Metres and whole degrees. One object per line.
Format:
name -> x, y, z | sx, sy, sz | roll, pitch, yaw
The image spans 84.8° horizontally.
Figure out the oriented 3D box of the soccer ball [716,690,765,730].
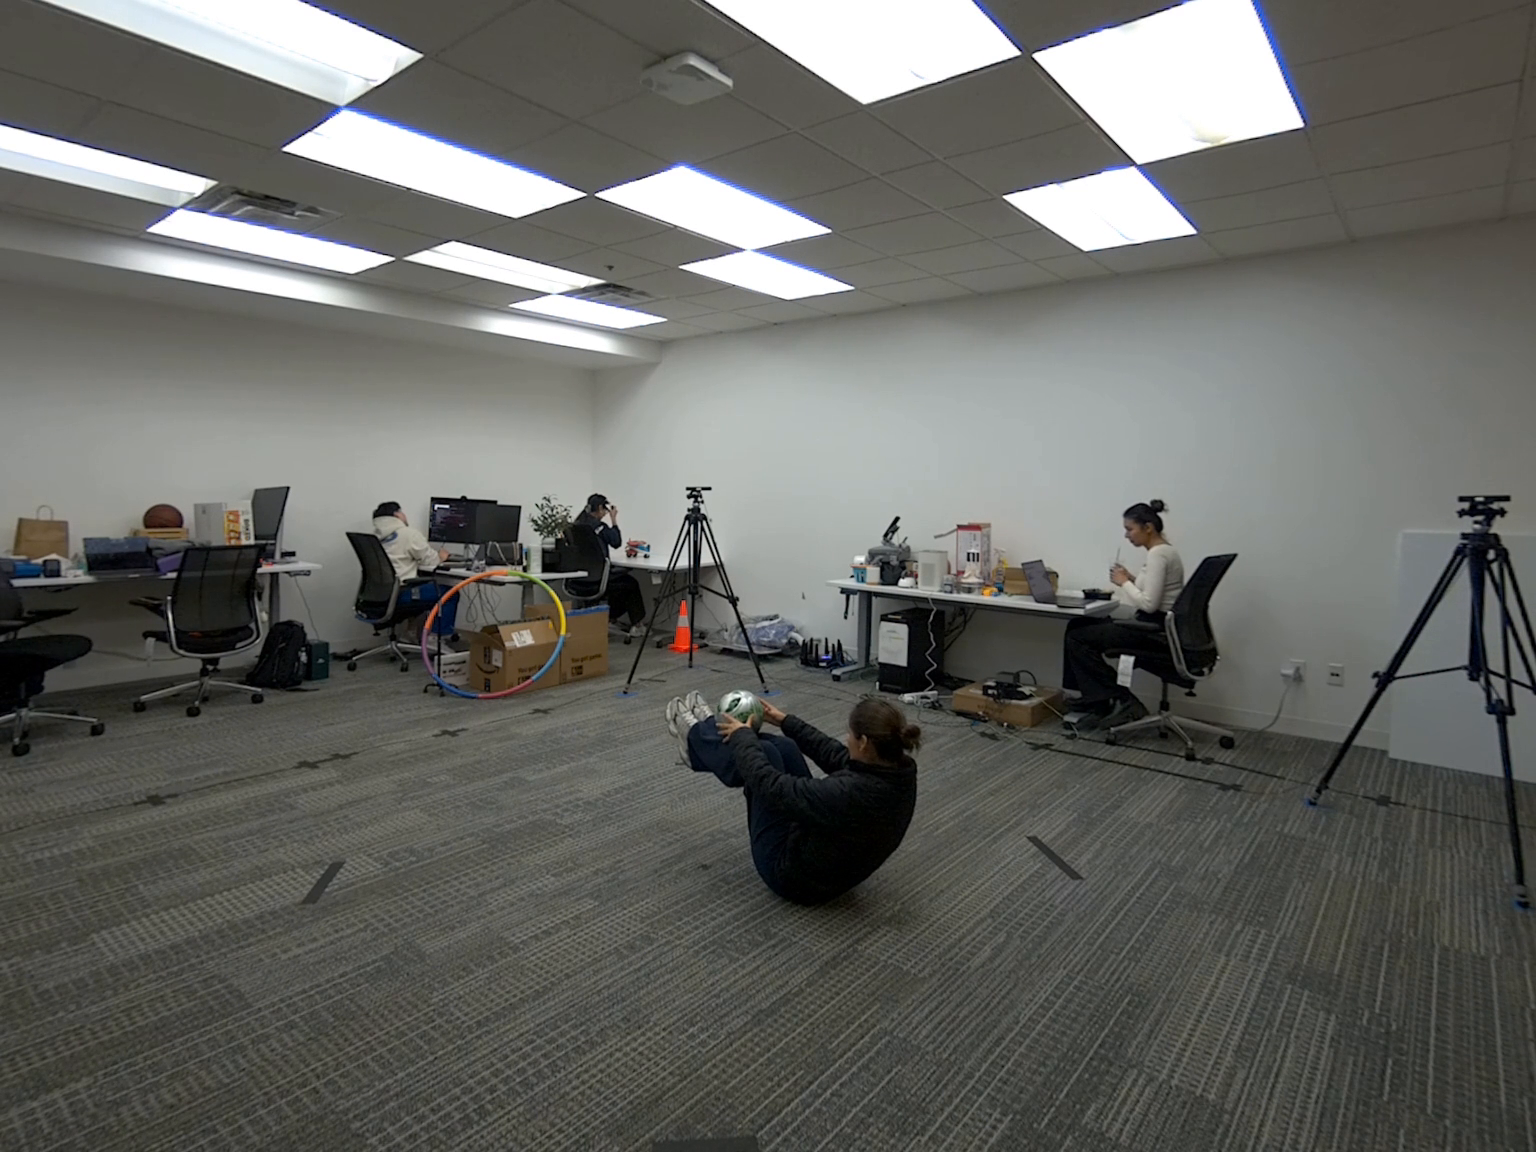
soccer ball -> -0.115, 0.525, 3.205 | 0.187, 0.187, 0.188 | -3, 3, -2
